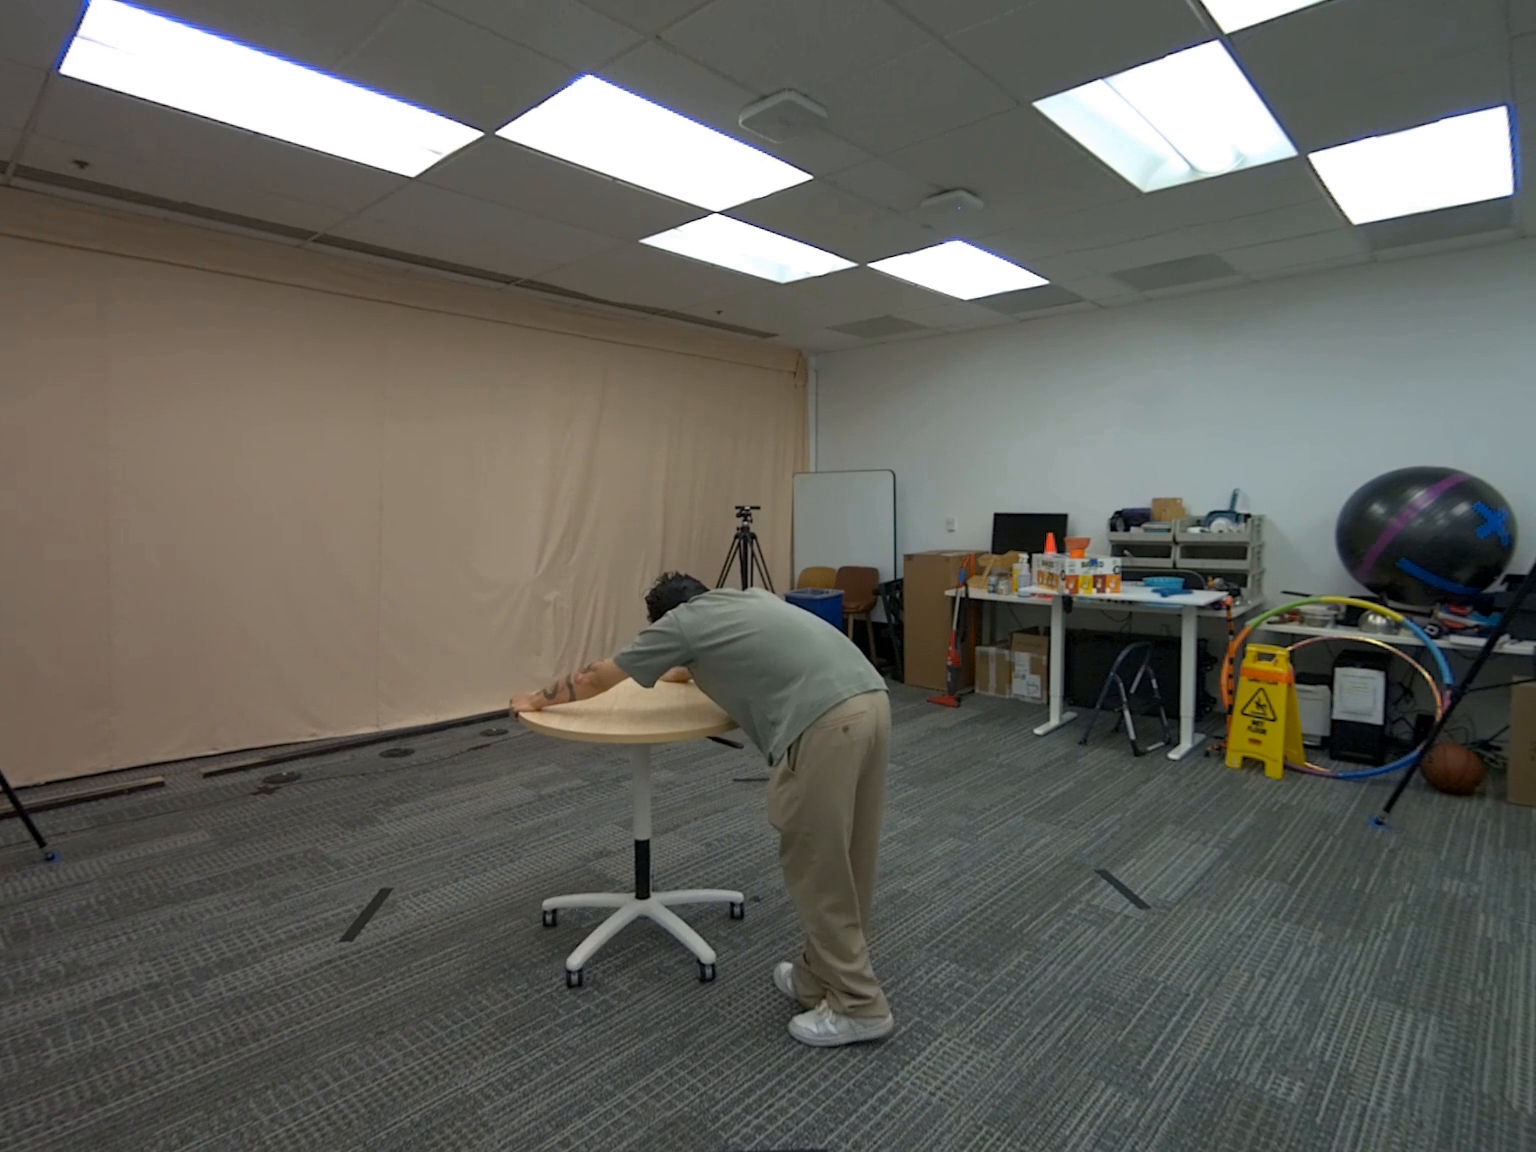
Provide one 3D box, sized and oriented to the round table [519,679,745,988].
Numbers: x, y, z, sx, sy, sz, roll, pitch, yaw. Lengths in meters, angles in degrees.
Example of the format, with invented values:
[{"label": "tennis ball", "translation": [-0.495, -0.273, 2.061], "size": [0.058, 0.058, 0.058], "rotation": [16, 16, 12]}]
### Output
[{"label": "round table", "translation": [-0.416, 0.783, 2.682], "size": [0.784, 0.785, 0.787], "rotation": [-1, 3, -2]}]
